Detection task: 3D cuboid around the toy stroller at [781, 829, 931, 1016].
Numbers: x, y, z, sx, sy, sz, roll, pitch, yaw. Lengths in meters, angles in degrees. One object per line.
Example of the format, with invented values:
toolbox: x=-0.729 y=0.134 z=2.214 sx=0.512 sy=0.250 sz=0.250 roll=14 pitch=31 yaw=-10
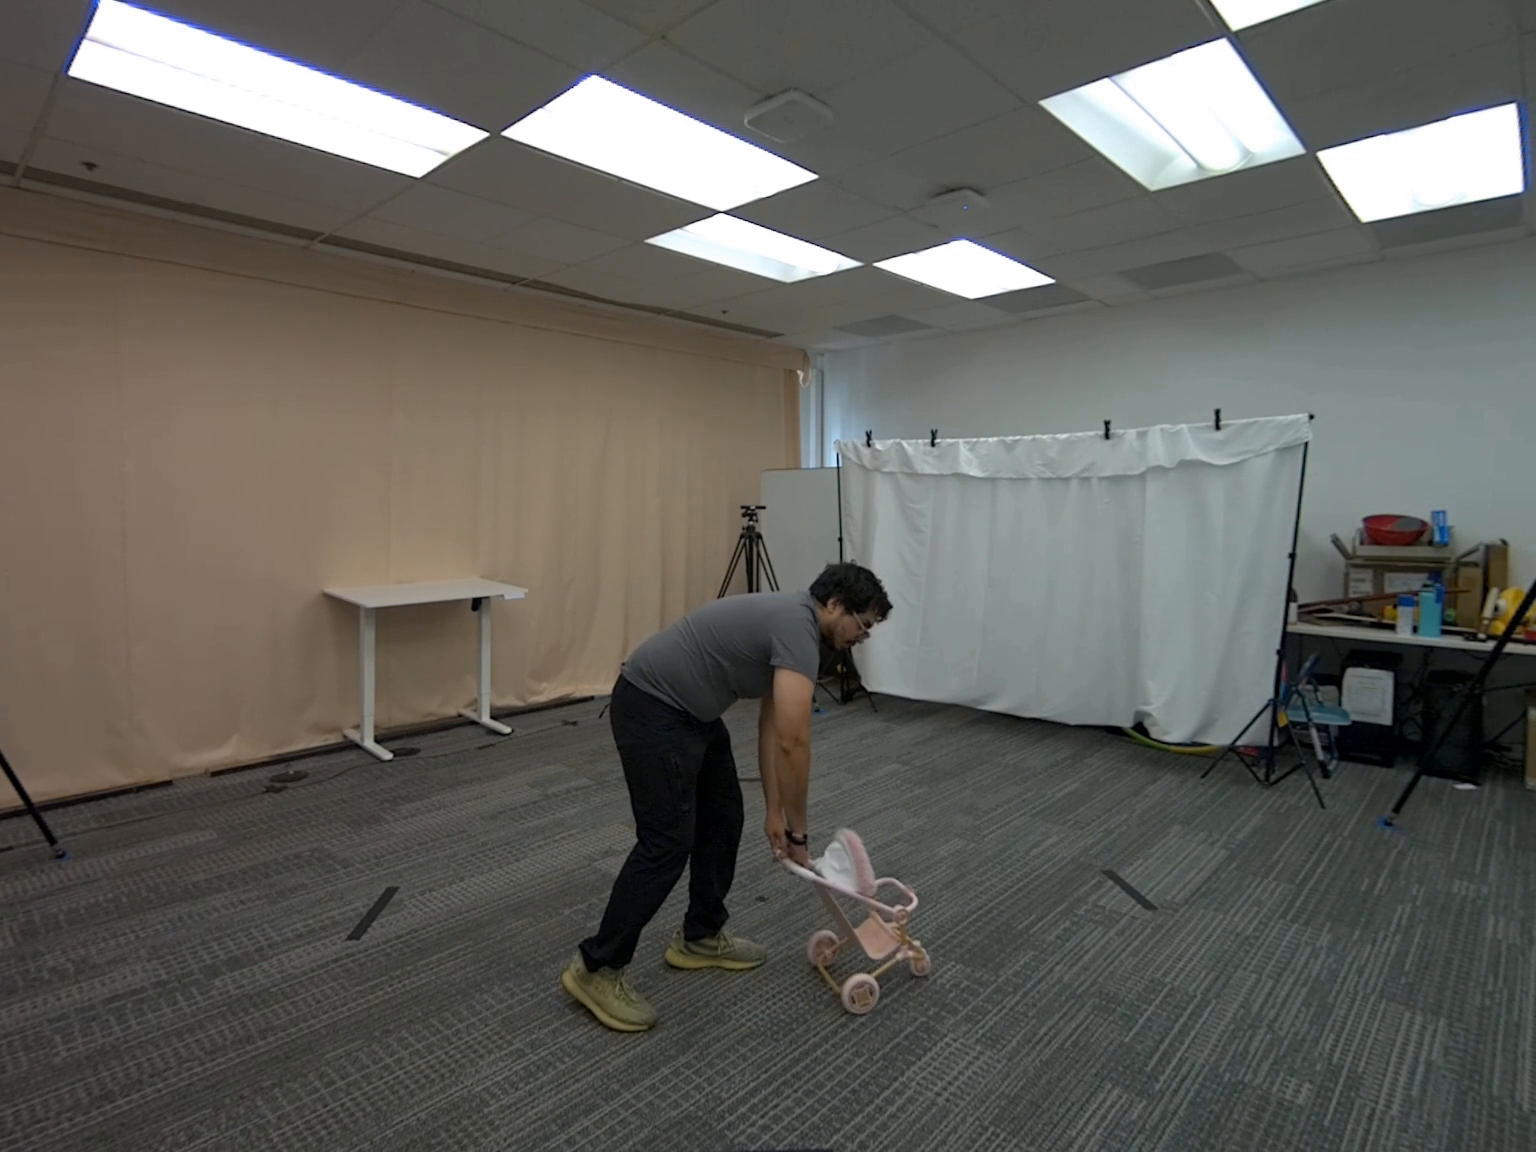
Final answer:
toy stroller: x=0.267 y=0.963 z=2.436 sx=0.338 sy=0.532 sz=0.286 roll=-19 pitch=7 yaw=-12
